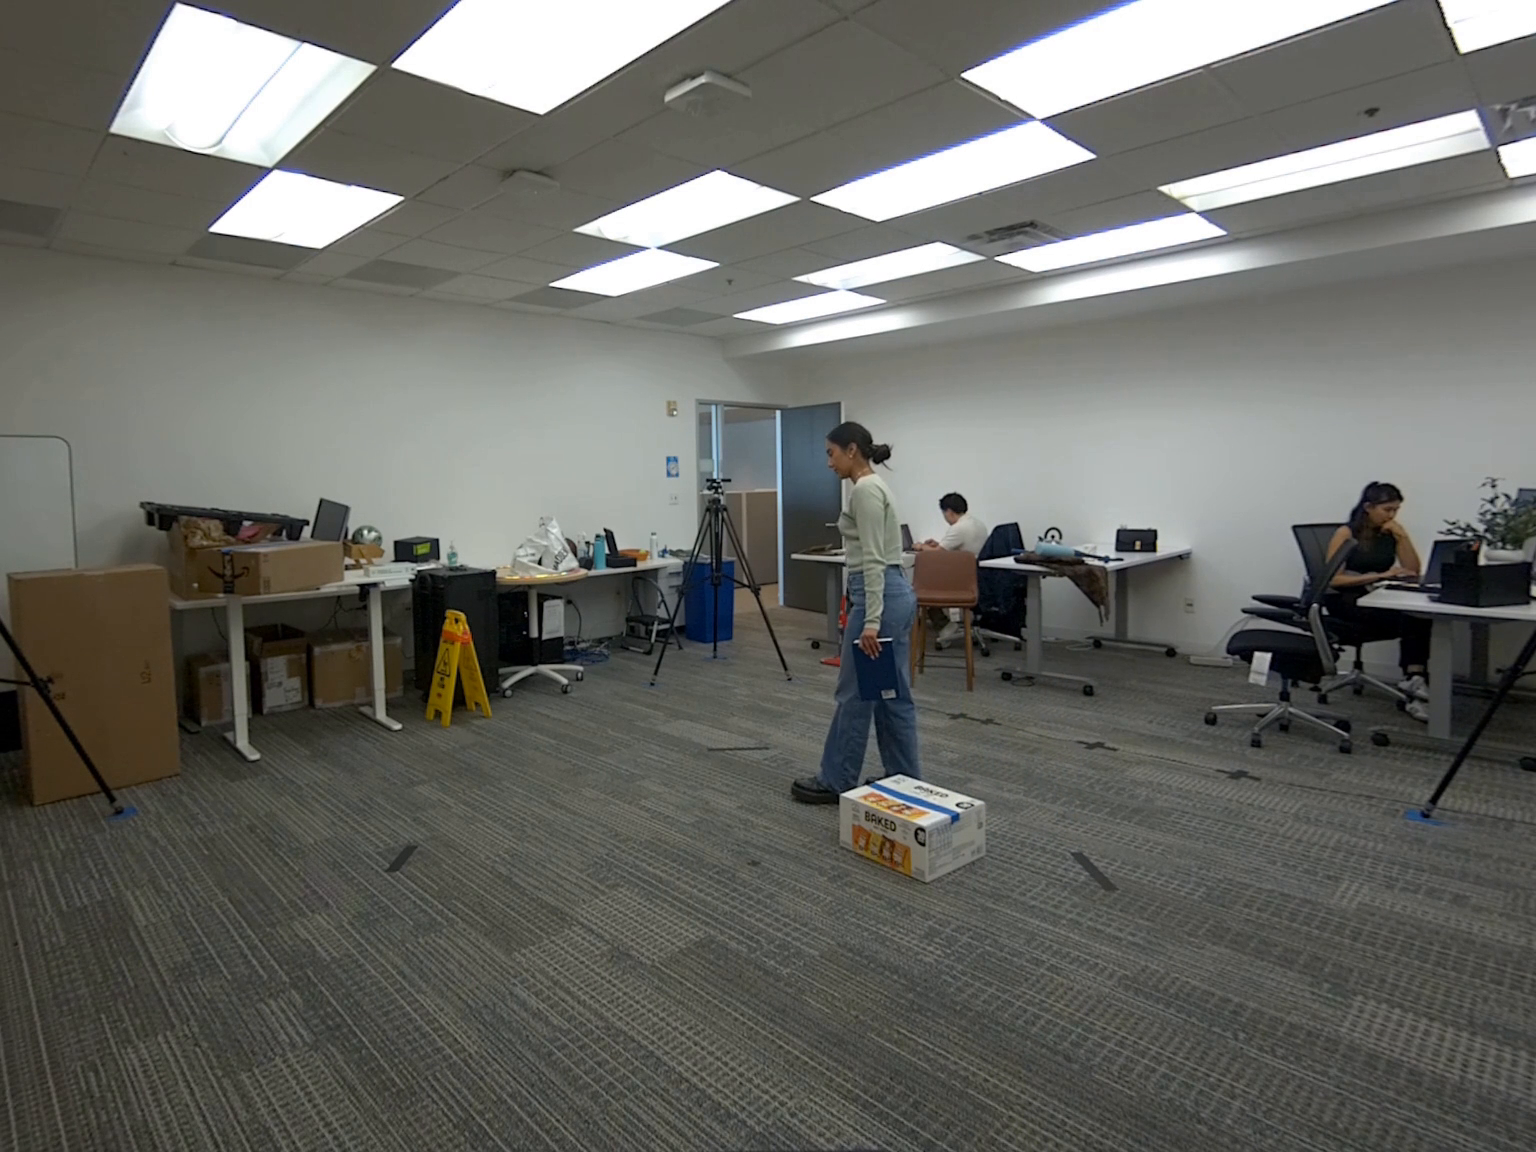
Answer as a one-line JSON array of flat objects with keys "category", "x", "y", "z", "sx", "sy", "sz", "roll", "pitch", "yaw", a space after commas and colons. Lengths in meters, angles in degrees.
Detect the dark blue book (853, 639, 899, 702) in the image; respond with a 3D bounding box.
[{"category": "dark blue book", "x": 0.430, "y": 0.381, "z": 3.435, "sx": 0.166, "sy": 0.243, "sz": 0.045, "roll": -5, "pitch": 7, "yaw": 17}]
